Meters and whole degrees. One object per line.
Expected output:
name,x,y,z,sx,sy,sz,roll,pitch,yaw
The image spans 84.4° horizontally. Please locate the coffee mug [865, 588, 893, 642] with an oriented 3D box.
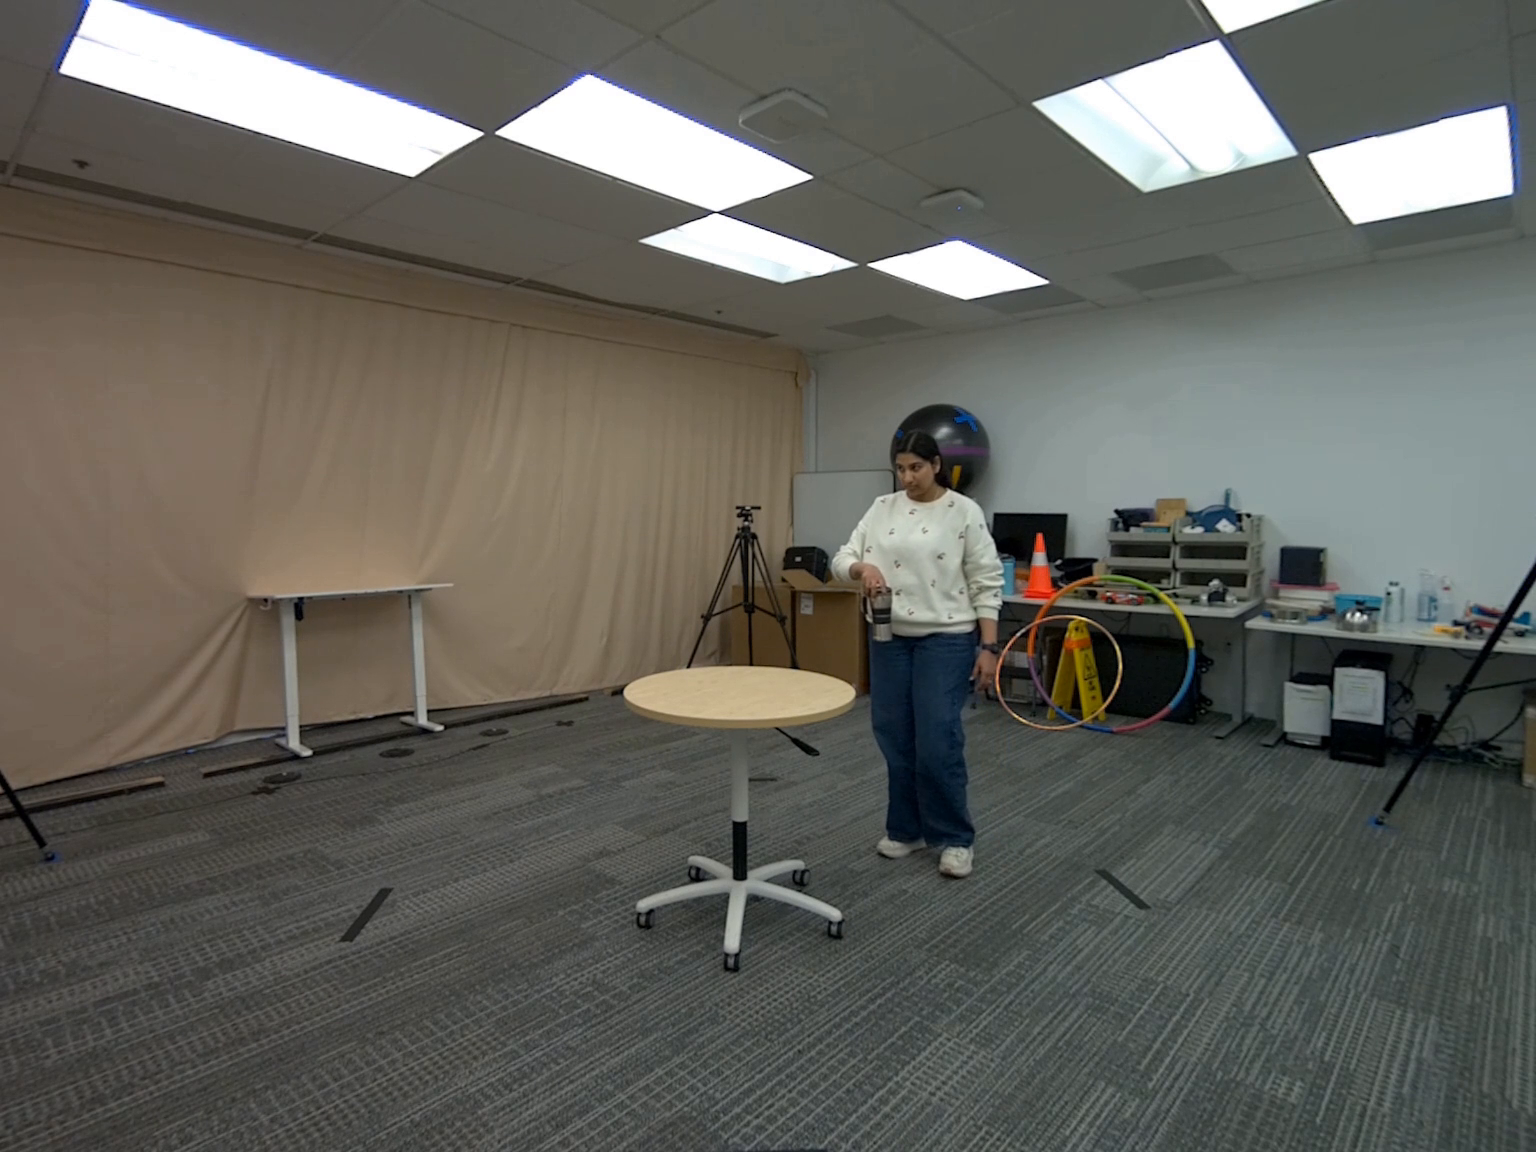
coffee mug,0.449,0.147,3.144,0.090,0.202,0.119,-3,5,30
